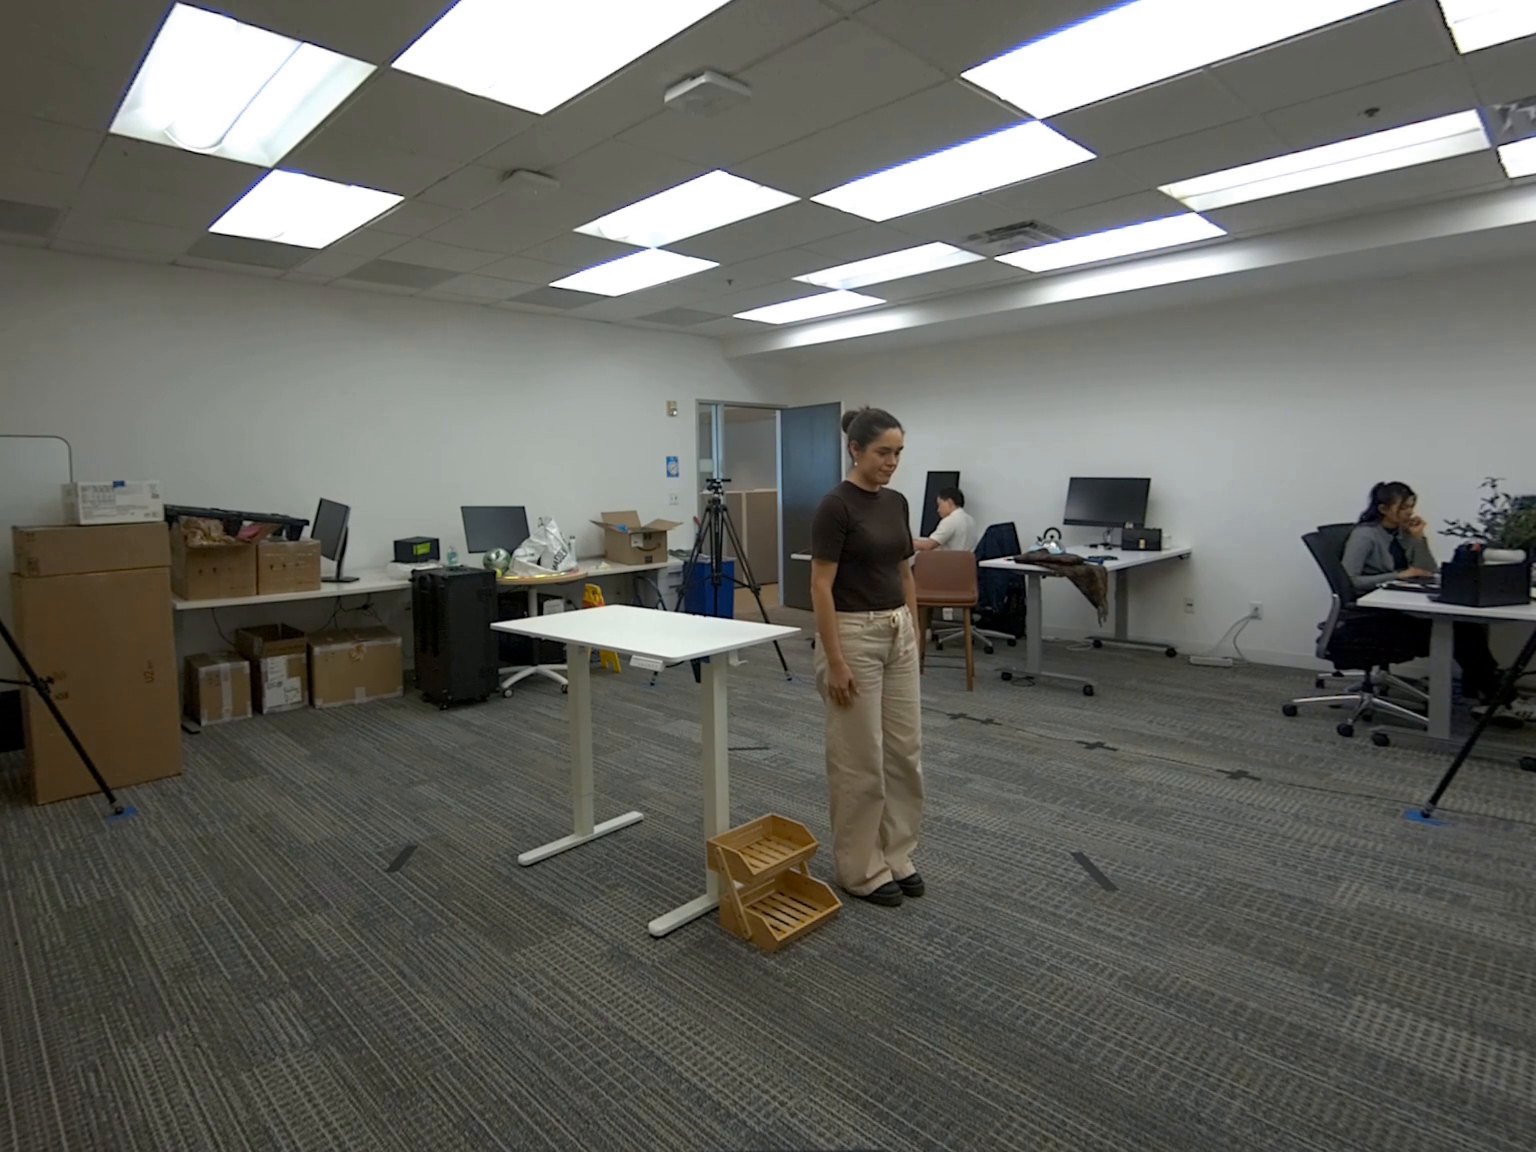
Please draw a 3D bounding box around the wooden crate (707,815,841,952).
[{"bbox_3d":[0.025,0.957,2.703,0.311,0.272,0.316,3,7,44],"label":"wooden crate"}]
